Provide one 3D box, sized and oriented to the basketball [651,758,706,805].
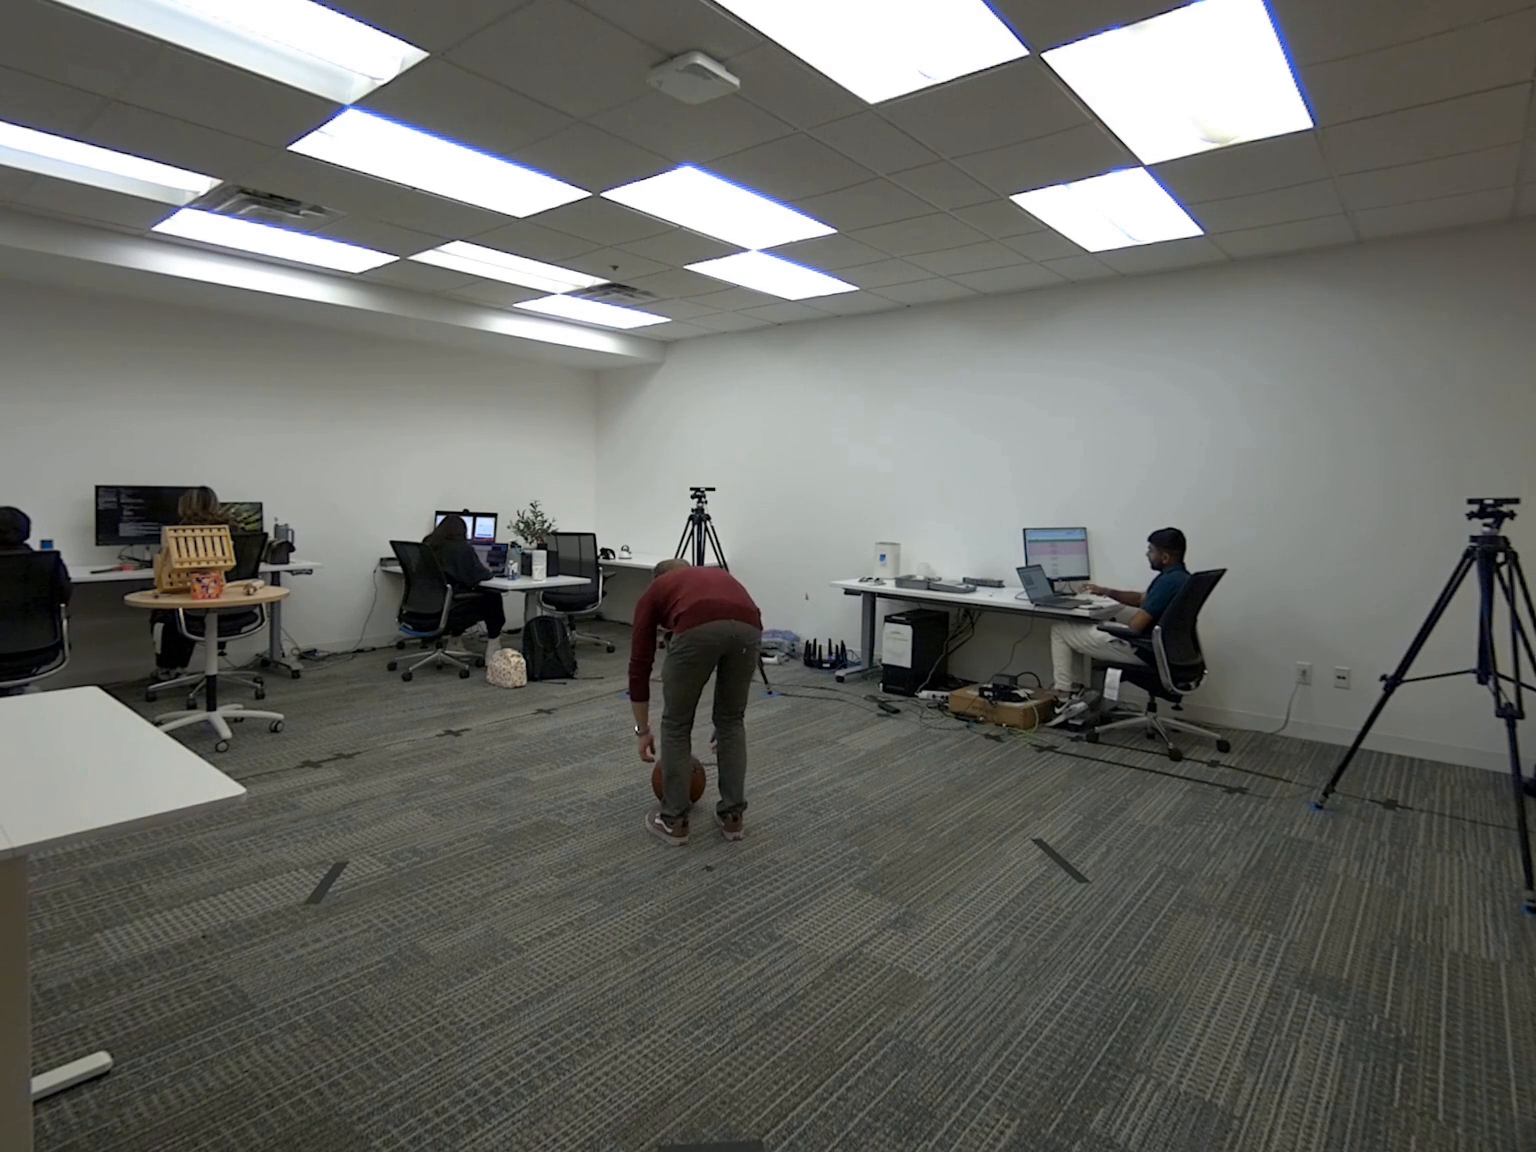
[{"bbox_3d":[-0.395,0.880,3.708,0.235,0.235,0.237,1,4,-2],"label":"basketball"}]
